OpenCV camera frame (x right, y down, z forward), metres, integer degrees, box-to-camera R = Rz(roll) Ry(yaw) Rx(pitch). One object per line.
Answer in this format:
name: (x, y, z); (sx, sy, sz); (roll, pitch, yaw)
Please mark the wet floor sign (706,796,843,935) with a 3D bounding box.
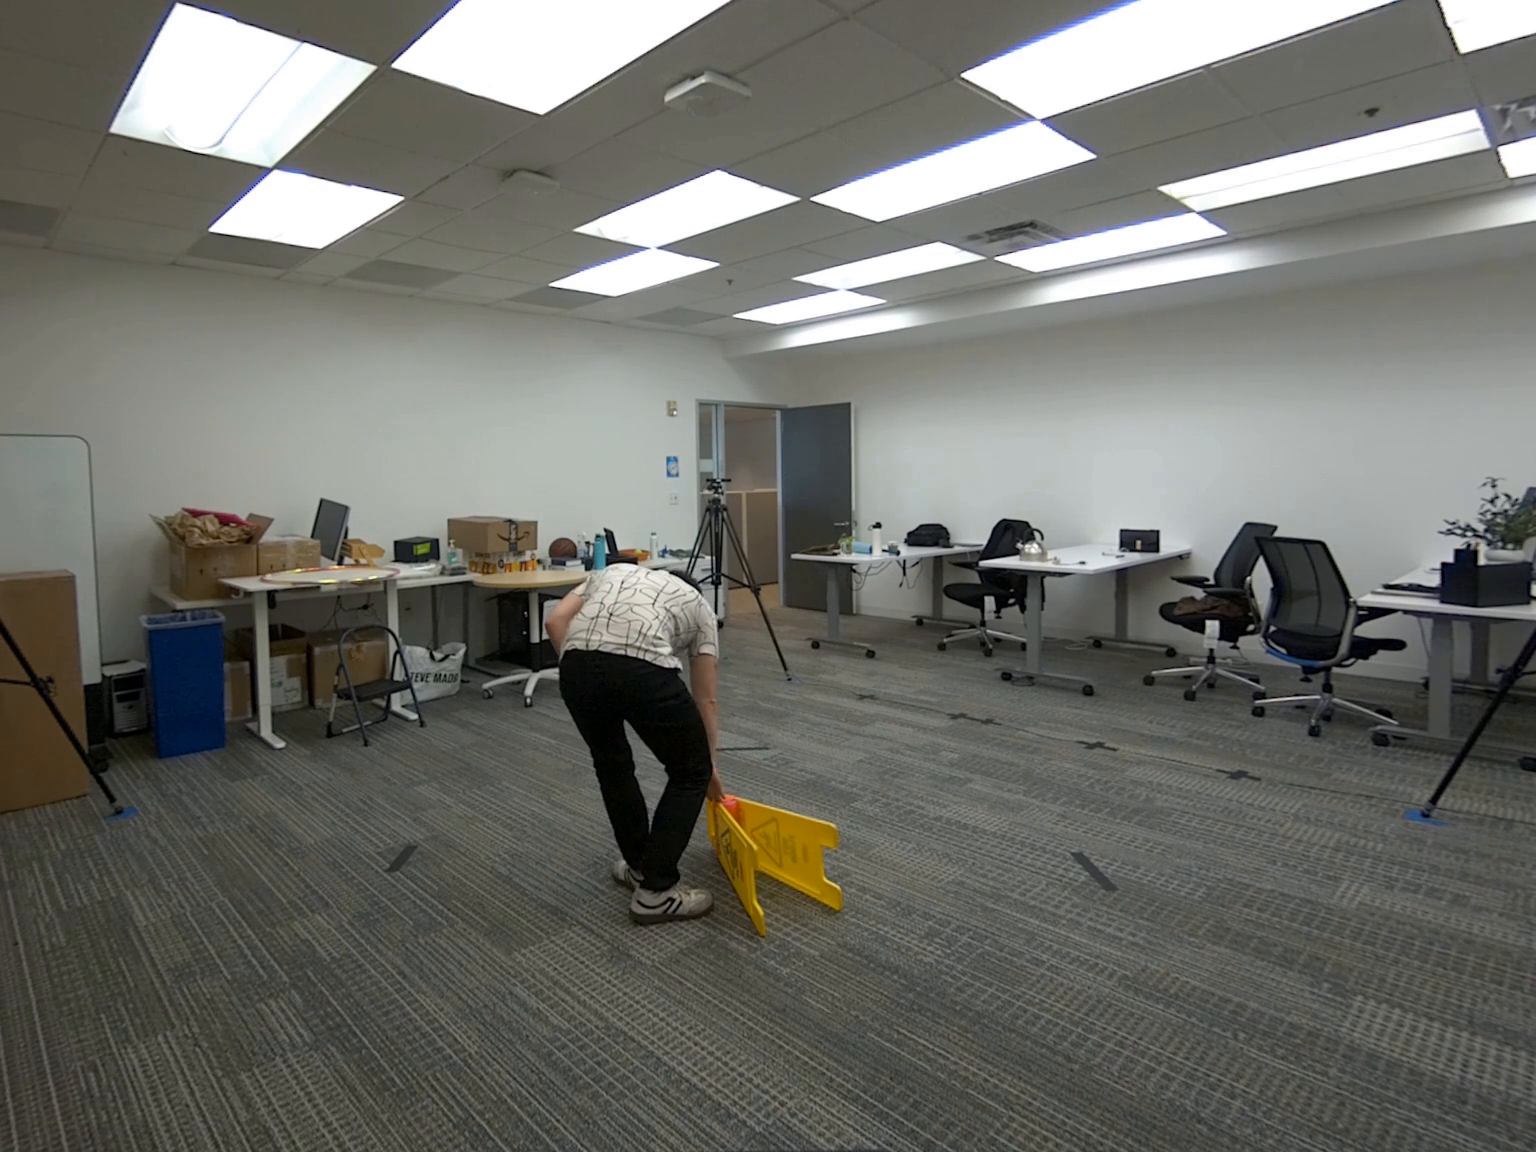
wet floor sign: (-0.061, 0.929, 2.946); (0.283, 0.281, 0.662); (-7, 6, -29)
